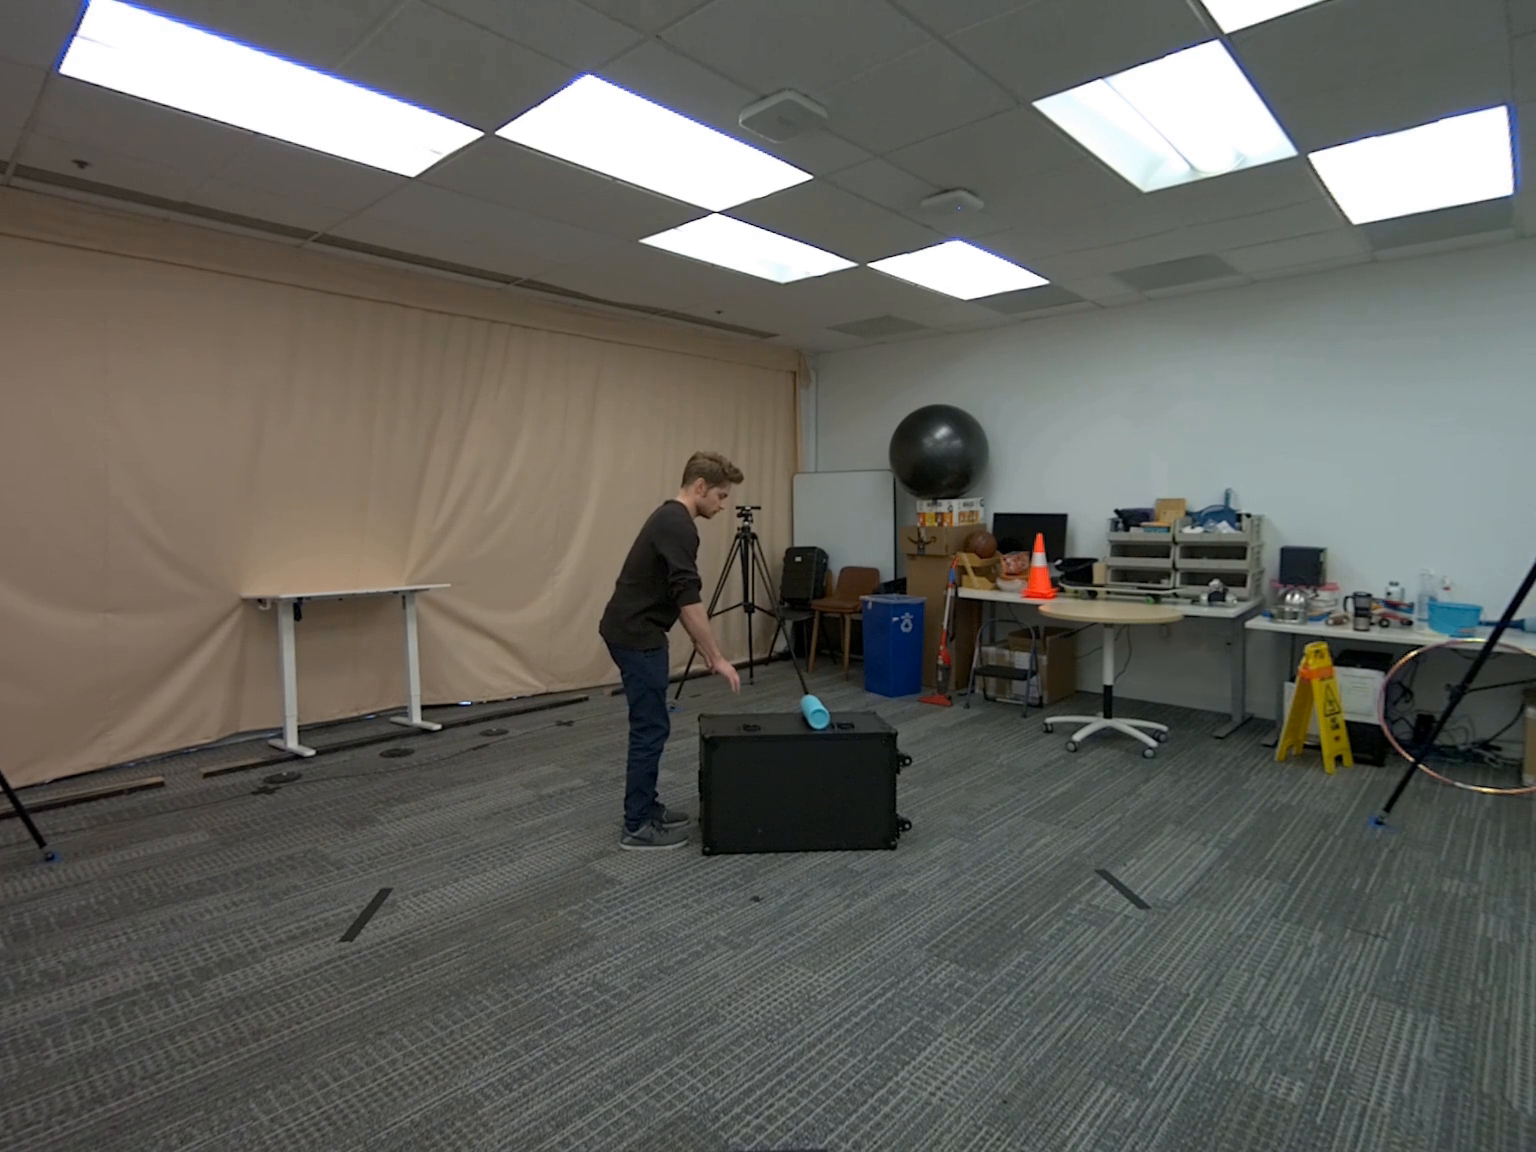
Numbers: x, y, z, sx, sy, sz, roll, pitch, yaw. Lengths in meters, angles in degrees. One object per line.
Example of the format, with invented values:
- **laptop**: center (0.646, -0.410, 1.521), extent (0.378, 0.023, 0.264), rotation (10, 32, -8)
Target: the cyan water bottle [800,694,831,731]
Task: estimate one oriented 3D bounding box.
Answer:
- **cyan water bottle**: center (0.192, 0.567, 3.556), extent (0.092, 0.092, 0.285), rotation (0, 5, -5)
